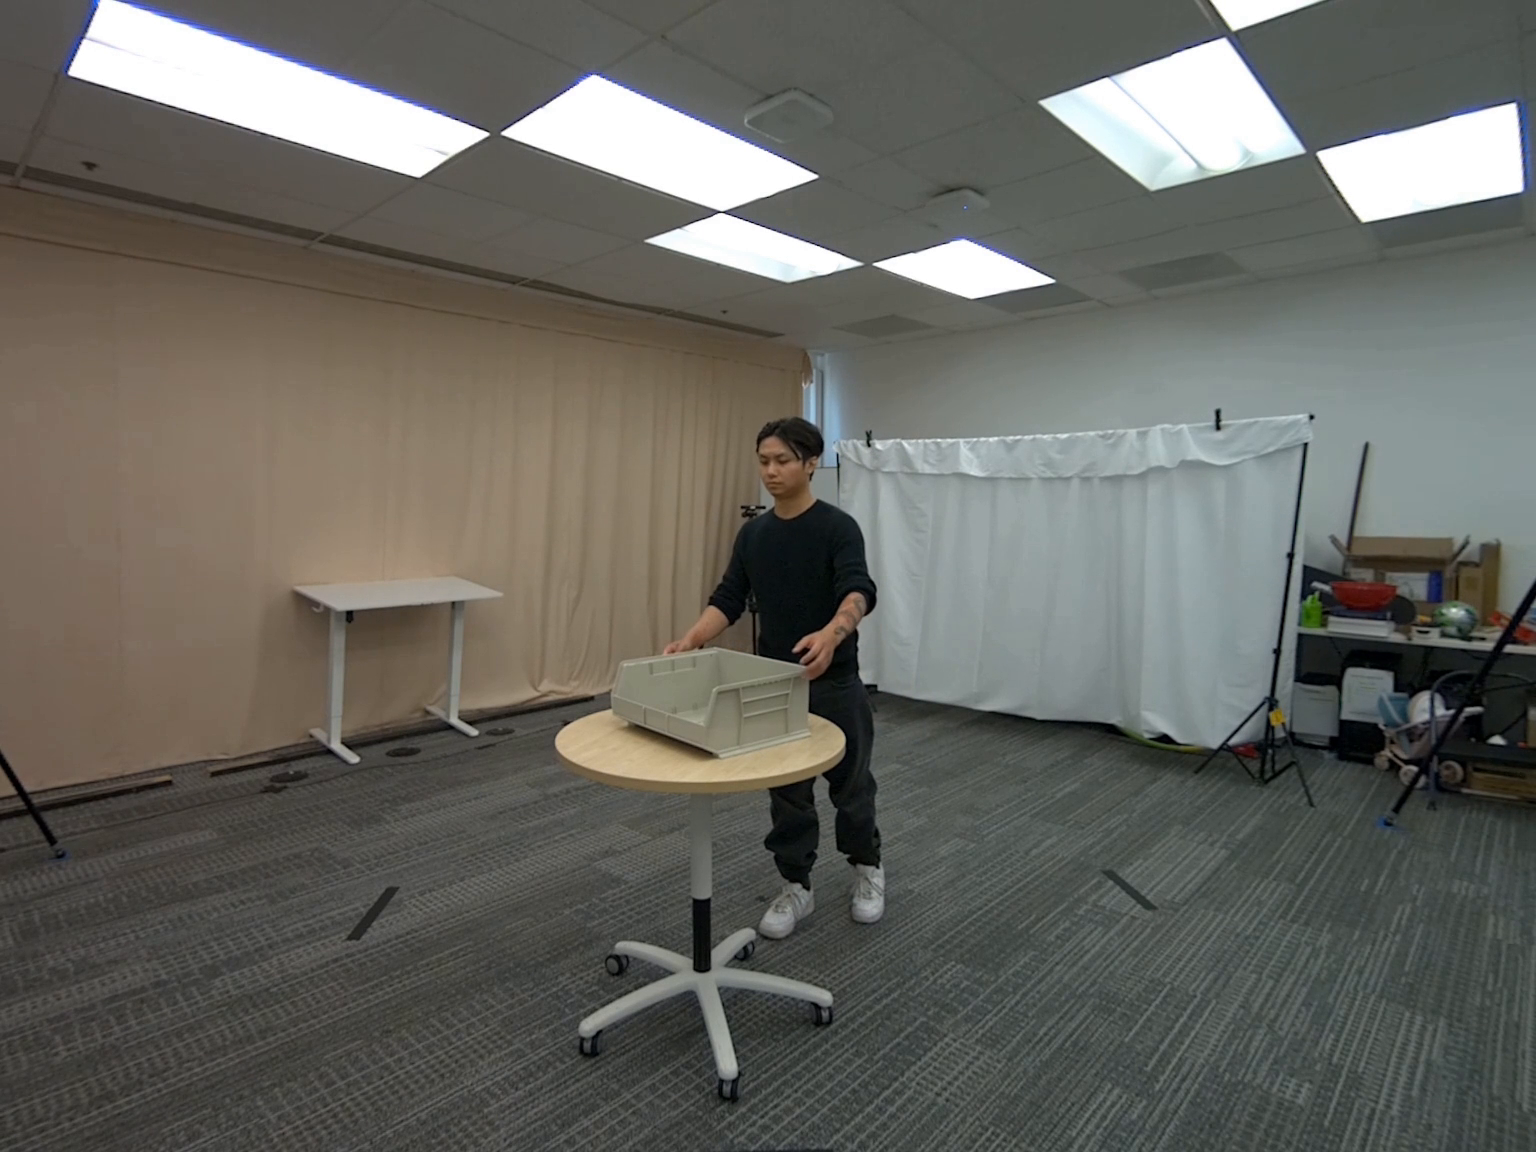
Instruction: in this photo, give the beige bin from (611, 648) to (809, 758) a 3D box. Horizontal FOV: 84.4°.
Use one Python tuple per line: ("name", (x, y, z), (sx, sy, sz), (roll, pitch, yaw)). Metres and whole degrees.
("beige bin", (-0.151, 0.331, 2.268), (0.366, 0.188, 0.436), (-3, 5, -41))
